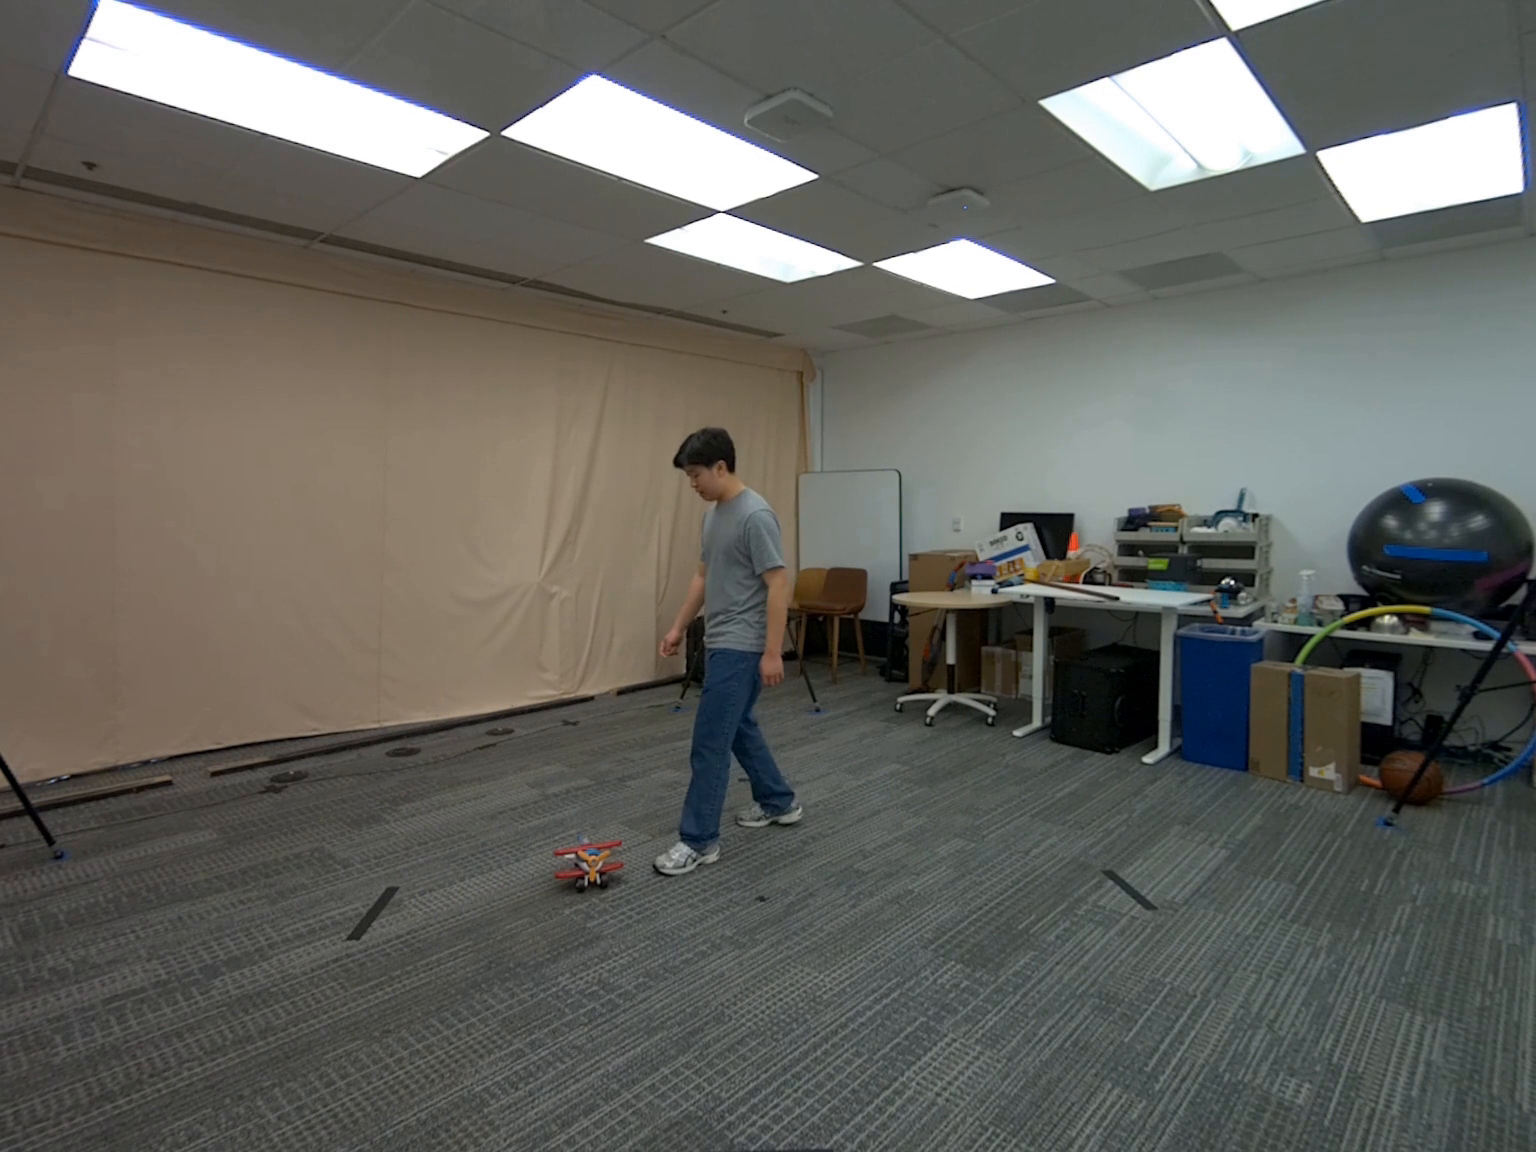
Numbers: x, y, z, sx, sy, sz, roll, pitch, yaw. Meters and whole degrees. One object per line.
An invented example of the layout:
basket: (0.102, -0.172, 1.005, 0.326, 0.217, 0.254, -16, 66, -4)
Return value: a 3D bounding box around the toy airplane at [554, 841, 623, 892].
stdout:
toy airplane: (-0.696, 1.066, 3.131, 0.268, 0.156, 0.243, 3, 5, 39)
